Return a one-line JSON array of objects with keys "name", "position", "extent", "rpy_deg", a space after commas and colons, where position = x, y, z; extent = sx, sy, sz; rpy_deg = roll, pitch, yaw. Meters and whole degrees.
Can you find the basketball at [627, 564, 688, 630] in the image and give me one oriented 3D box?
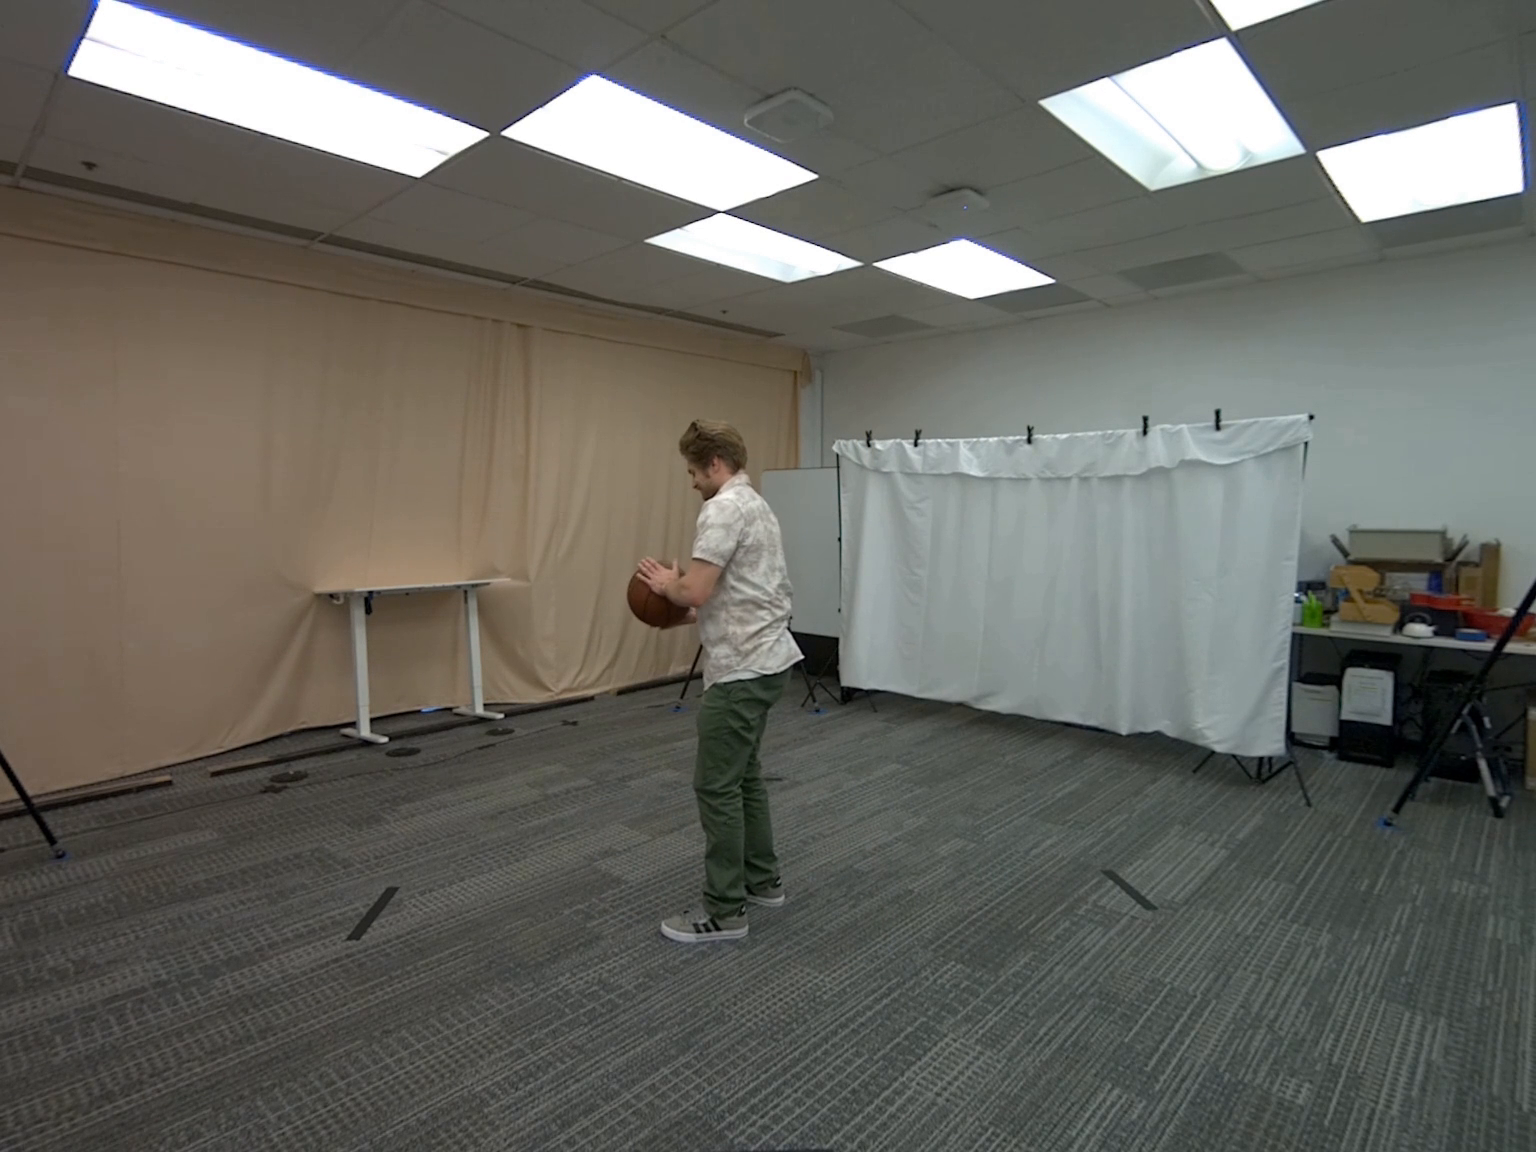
[{"name": "basketball", "position": [-0.393, 0.069, 3.068], "extent": [0.236, 0.235, 0.237], "rpy_deg": [0, 4, -2]}]
